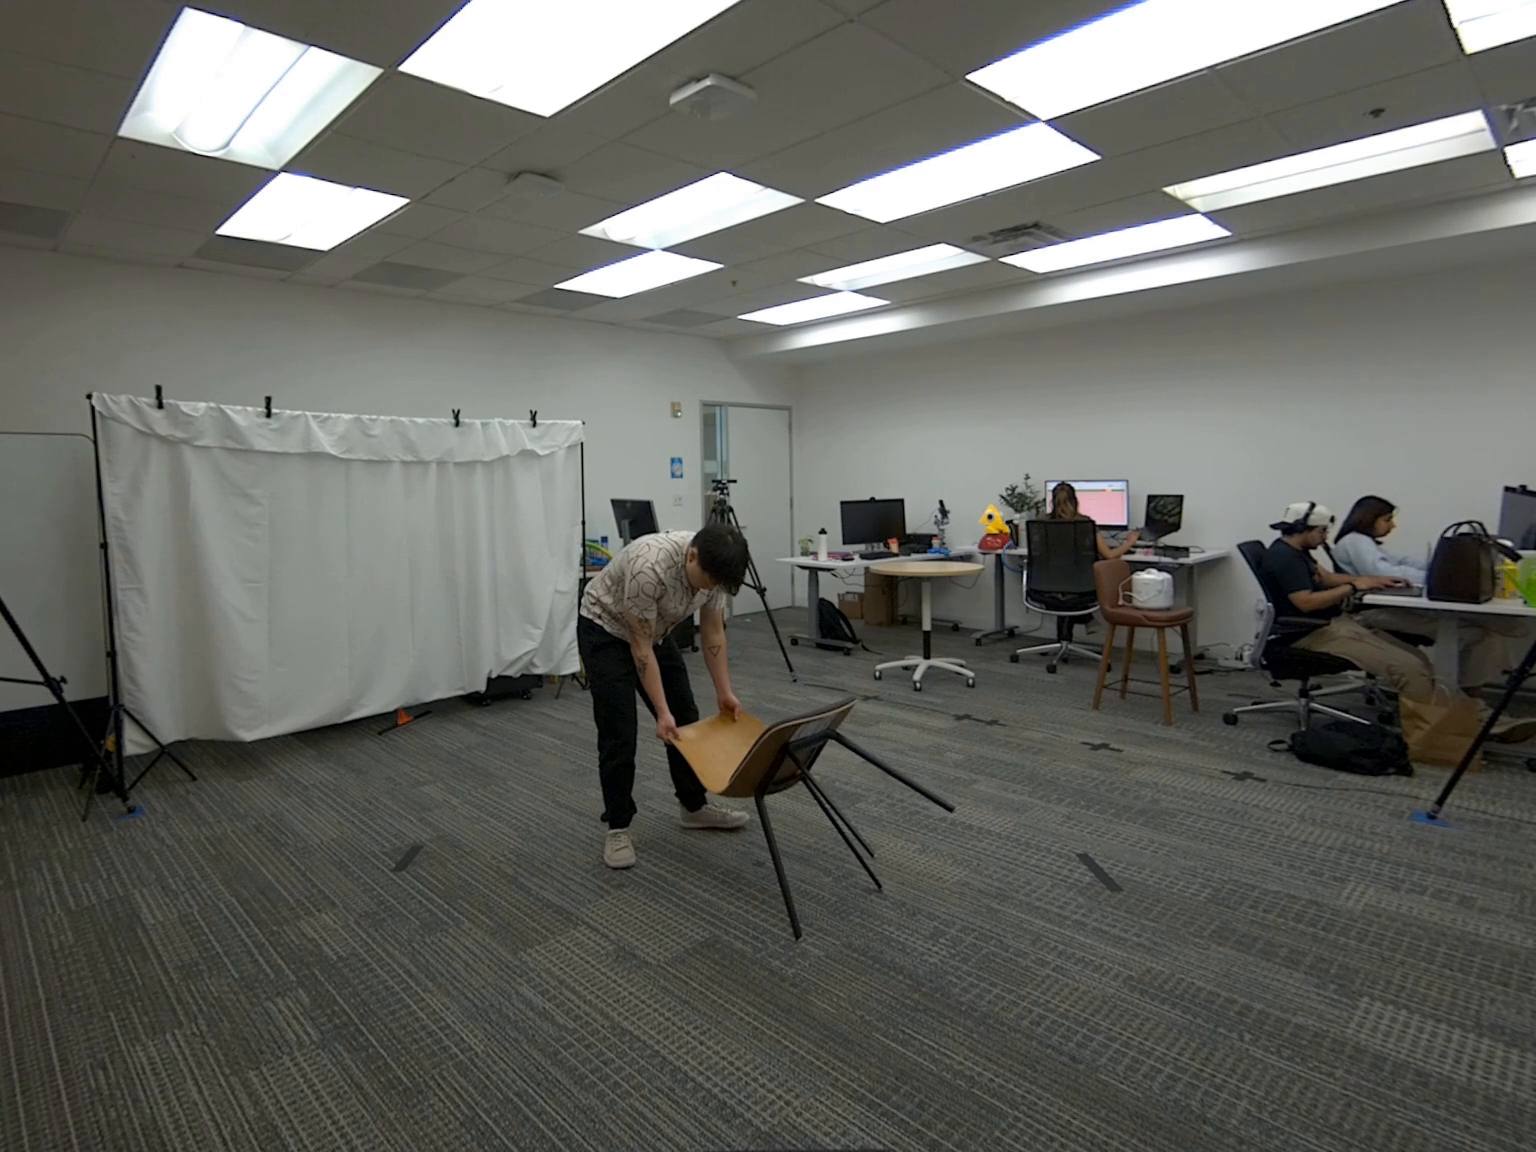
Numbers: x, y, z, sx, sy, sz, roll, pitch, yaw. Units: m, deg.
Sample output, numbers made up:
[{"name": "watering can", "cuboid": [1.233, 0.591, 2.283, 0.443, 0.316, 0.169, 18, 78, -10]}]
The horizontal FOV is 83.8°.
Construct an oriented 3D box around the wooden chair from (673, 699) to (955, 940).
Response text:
[{"name": "wooden chair", "cuboid": [0.090, 0.626, 2.836, 0.466, 0.518, 0.909, -6, 42, -45]}]
